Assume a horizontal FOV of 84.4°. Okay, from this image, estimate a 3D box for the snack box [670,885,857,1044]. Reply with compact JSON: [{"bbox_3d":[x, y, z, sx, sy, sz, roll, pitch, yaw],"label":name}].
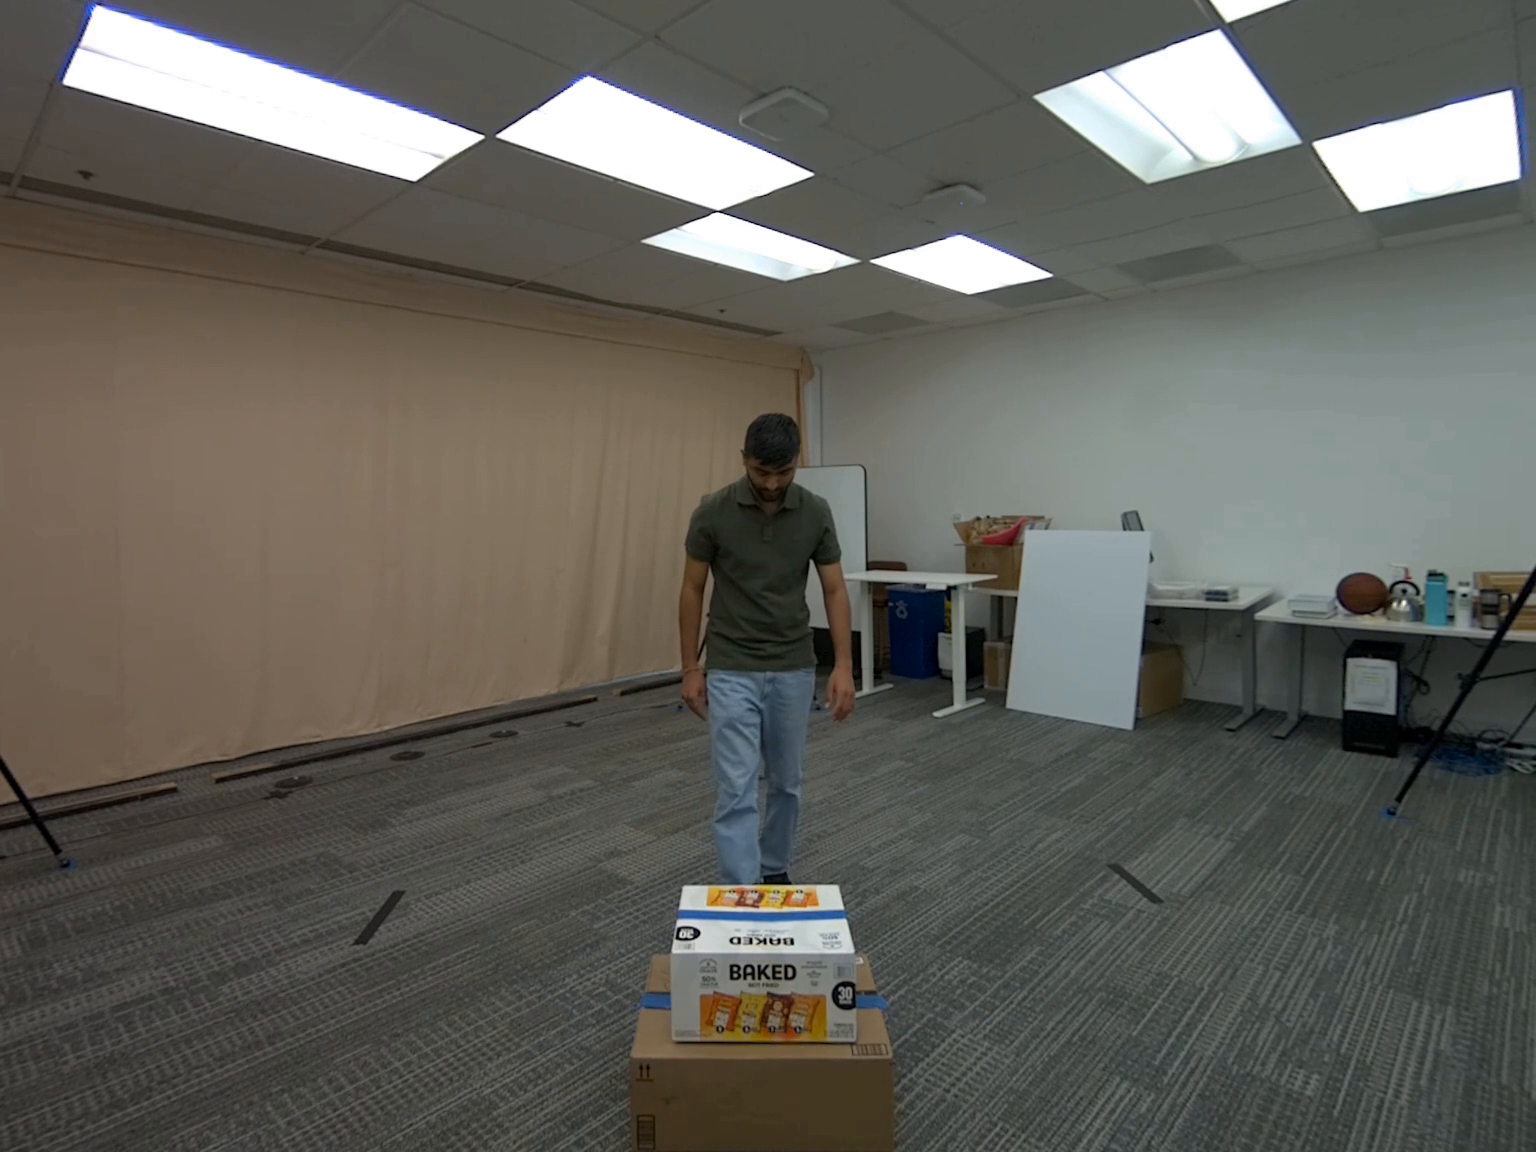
[{"bbox_3d":[-0.009,0.904,2.002,0.406,0.205,0.340,-1,3,0],"label":"snack box"}]
